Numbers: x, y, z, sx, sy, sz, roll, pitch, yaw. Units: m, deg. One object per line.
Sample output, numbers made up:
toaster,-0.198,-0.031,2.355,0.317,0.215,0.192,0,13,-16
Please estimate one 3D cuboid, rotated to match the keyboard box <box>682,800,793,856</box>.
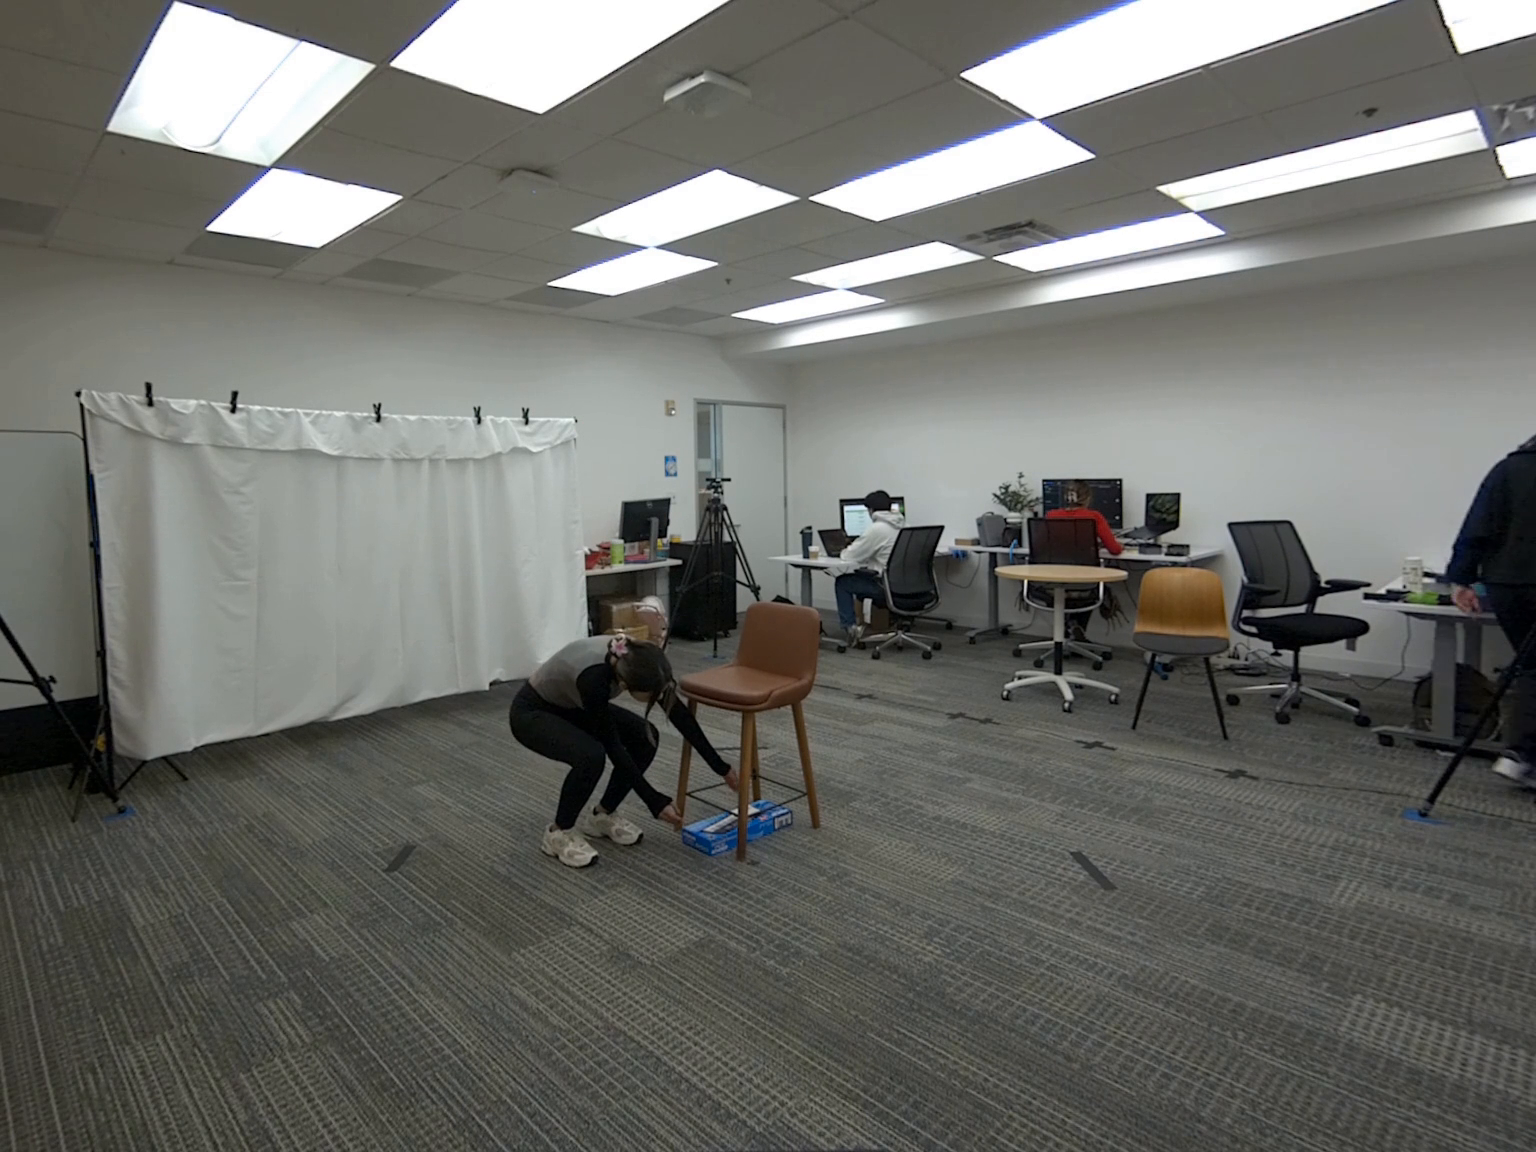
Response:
keyboard box,-0.117,0.984,3.368,0.425,0.059,0.181,-6,8,-42
